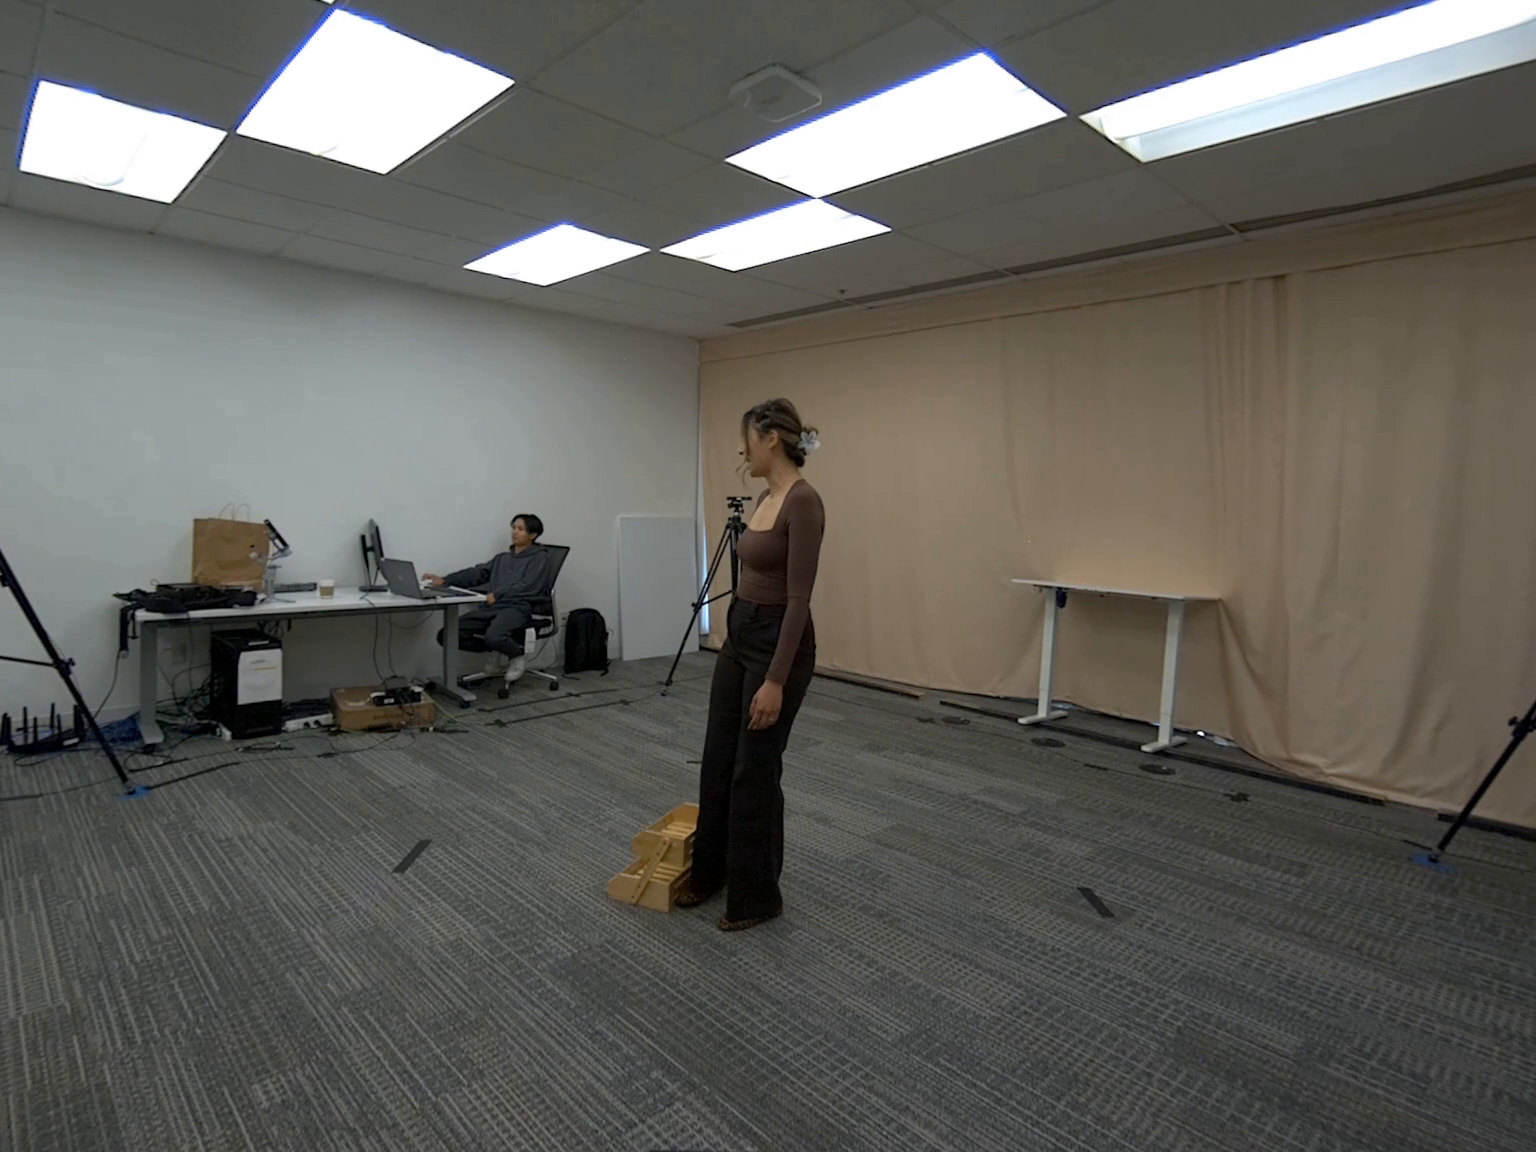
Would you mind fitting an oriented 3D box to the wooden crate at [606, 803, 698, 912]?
[{"bbox_3d":[-0.382,0.976,2.994,0.307,0.272,0.320,4,5,22],"label":"wooden crate"}]
